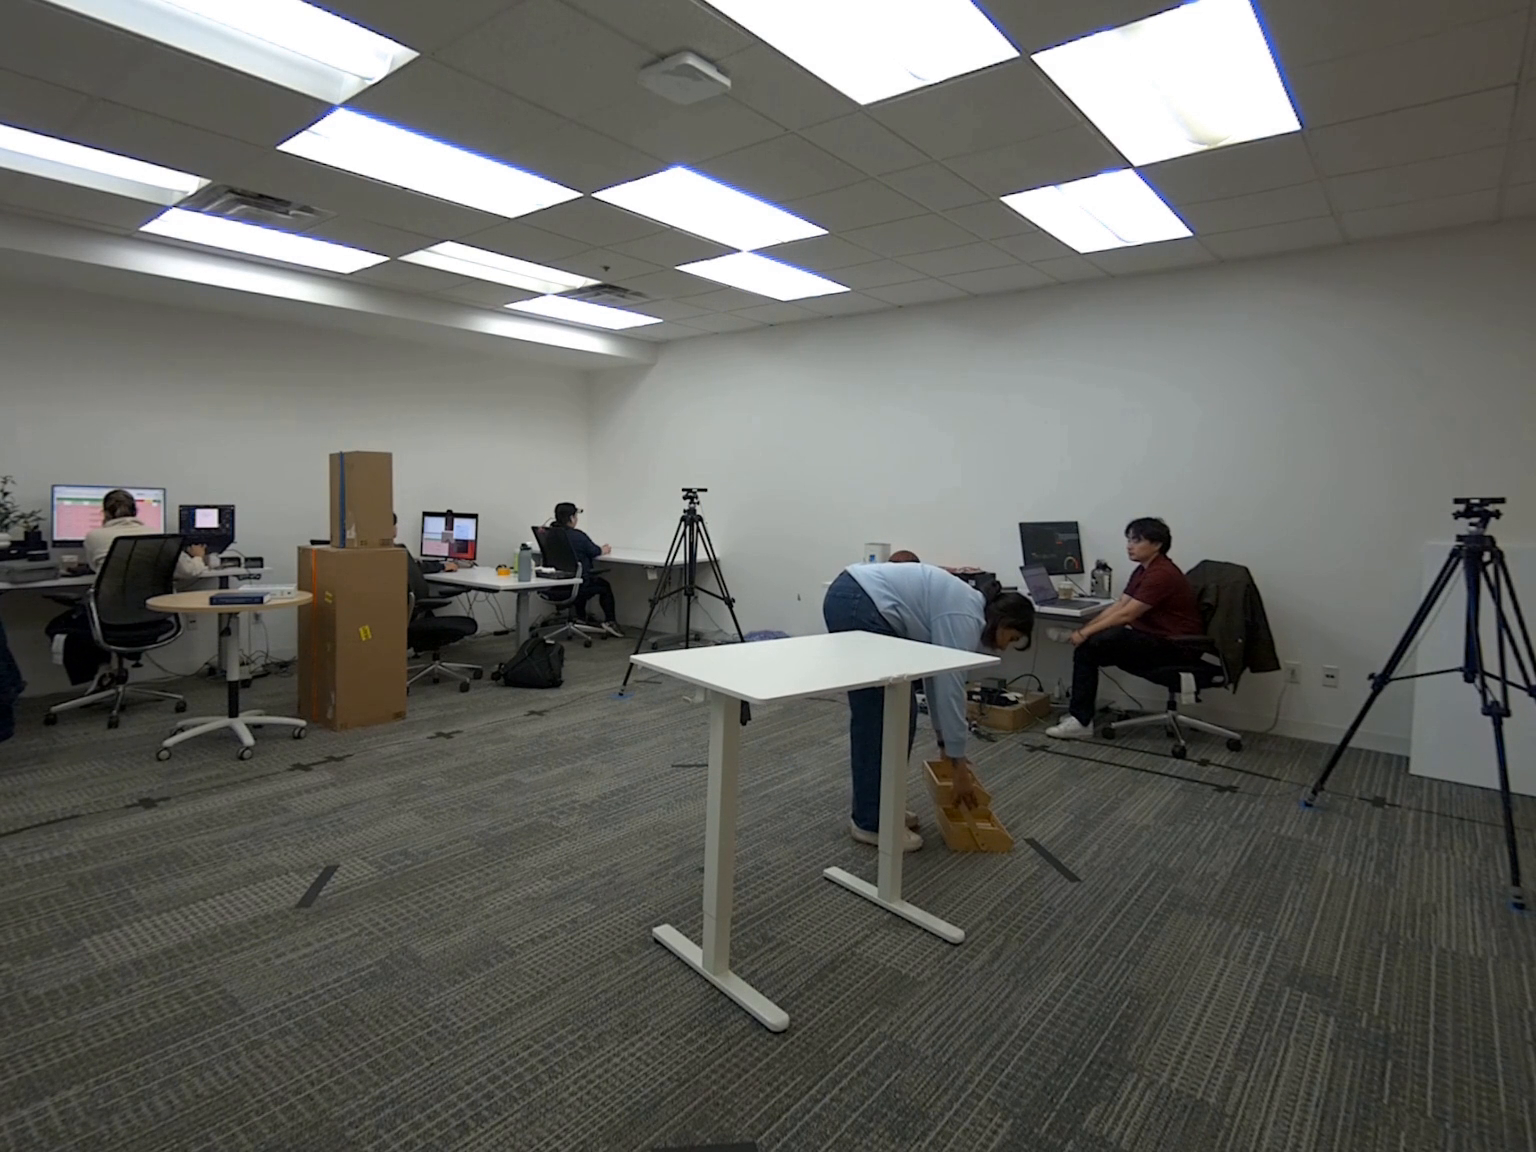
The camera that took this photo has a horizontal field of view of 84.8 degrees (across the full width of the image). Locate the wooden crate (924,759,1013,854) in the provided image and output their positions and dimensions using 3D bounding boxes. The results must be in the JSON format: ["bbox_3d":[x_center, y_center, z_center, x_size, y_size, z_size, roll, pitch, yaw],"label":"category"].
[{"bbox_3d":[0.805,0.927,3.467,0.302,0.272,0.326,0,6,-1],"label":"wooden crate"}]
